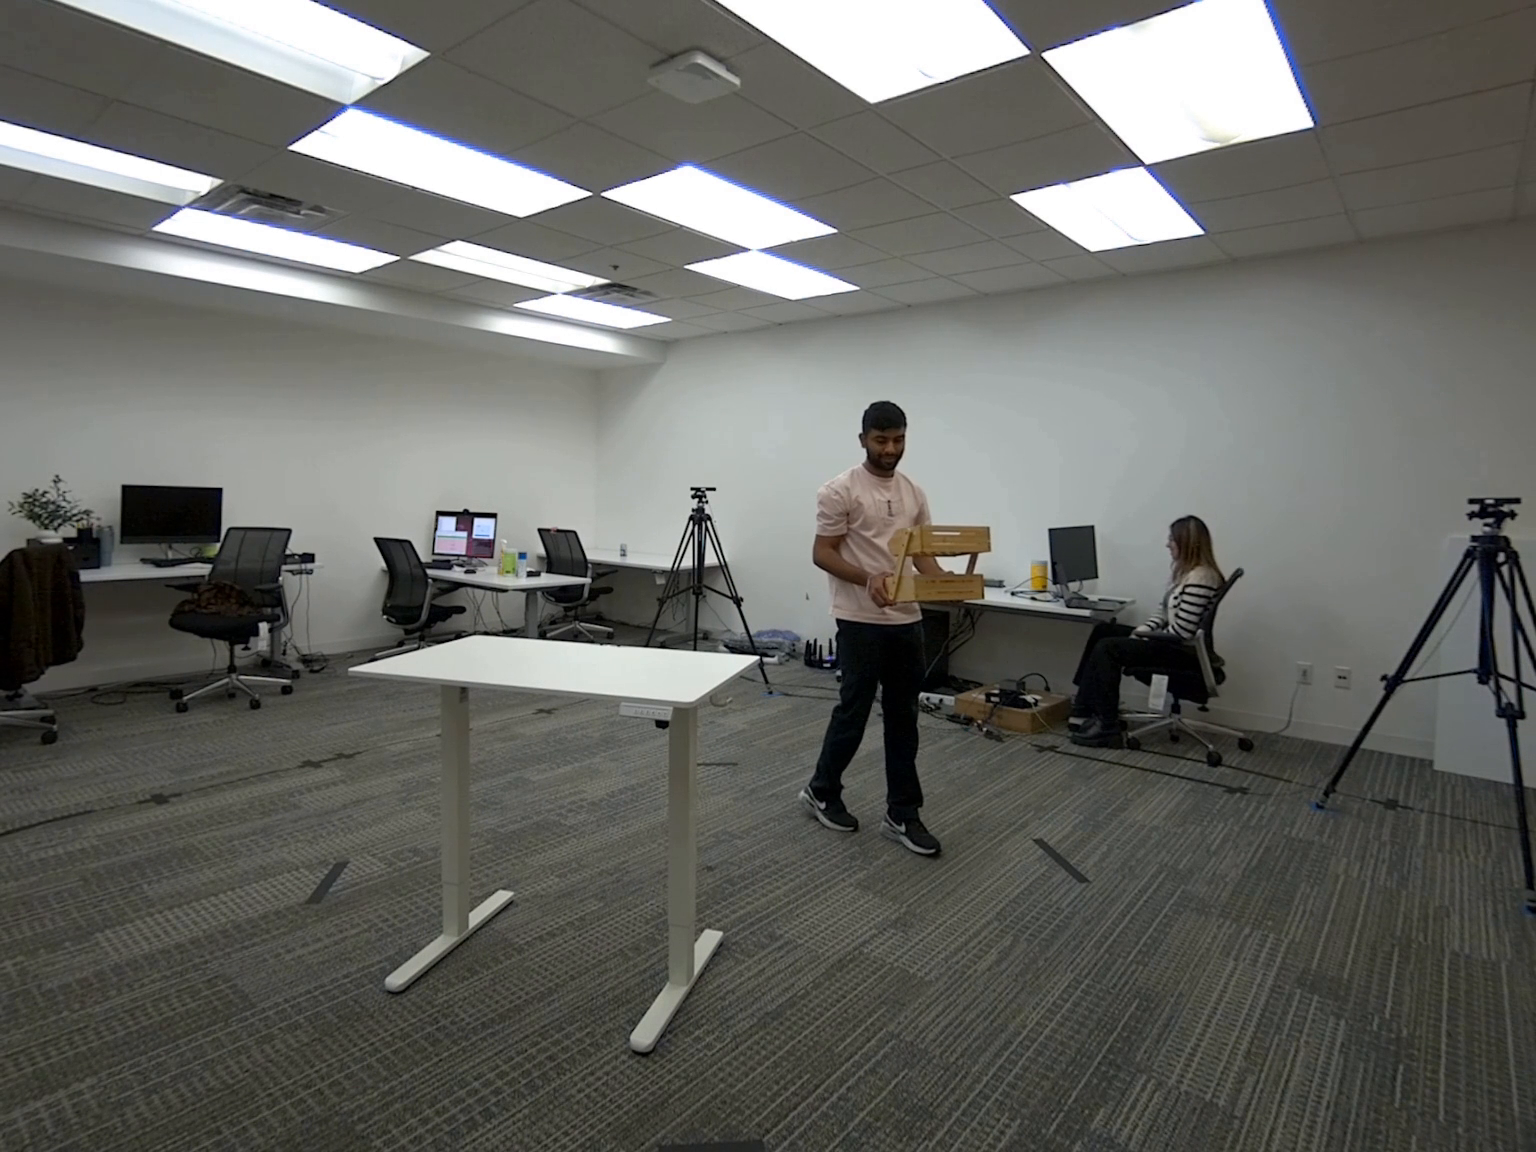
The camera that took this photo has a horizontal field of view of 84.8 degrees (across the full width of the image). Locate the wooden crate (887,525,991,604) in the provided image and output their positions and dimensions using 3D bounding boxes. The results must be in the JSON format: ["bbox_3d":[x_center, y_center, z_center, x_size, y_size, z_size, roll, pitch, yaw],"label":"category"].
[{"bbox_3d":[0.597,-0.048,3.134,0.317,0.275,0.308,0,-5,-24],"label":"wooden crate"}]
